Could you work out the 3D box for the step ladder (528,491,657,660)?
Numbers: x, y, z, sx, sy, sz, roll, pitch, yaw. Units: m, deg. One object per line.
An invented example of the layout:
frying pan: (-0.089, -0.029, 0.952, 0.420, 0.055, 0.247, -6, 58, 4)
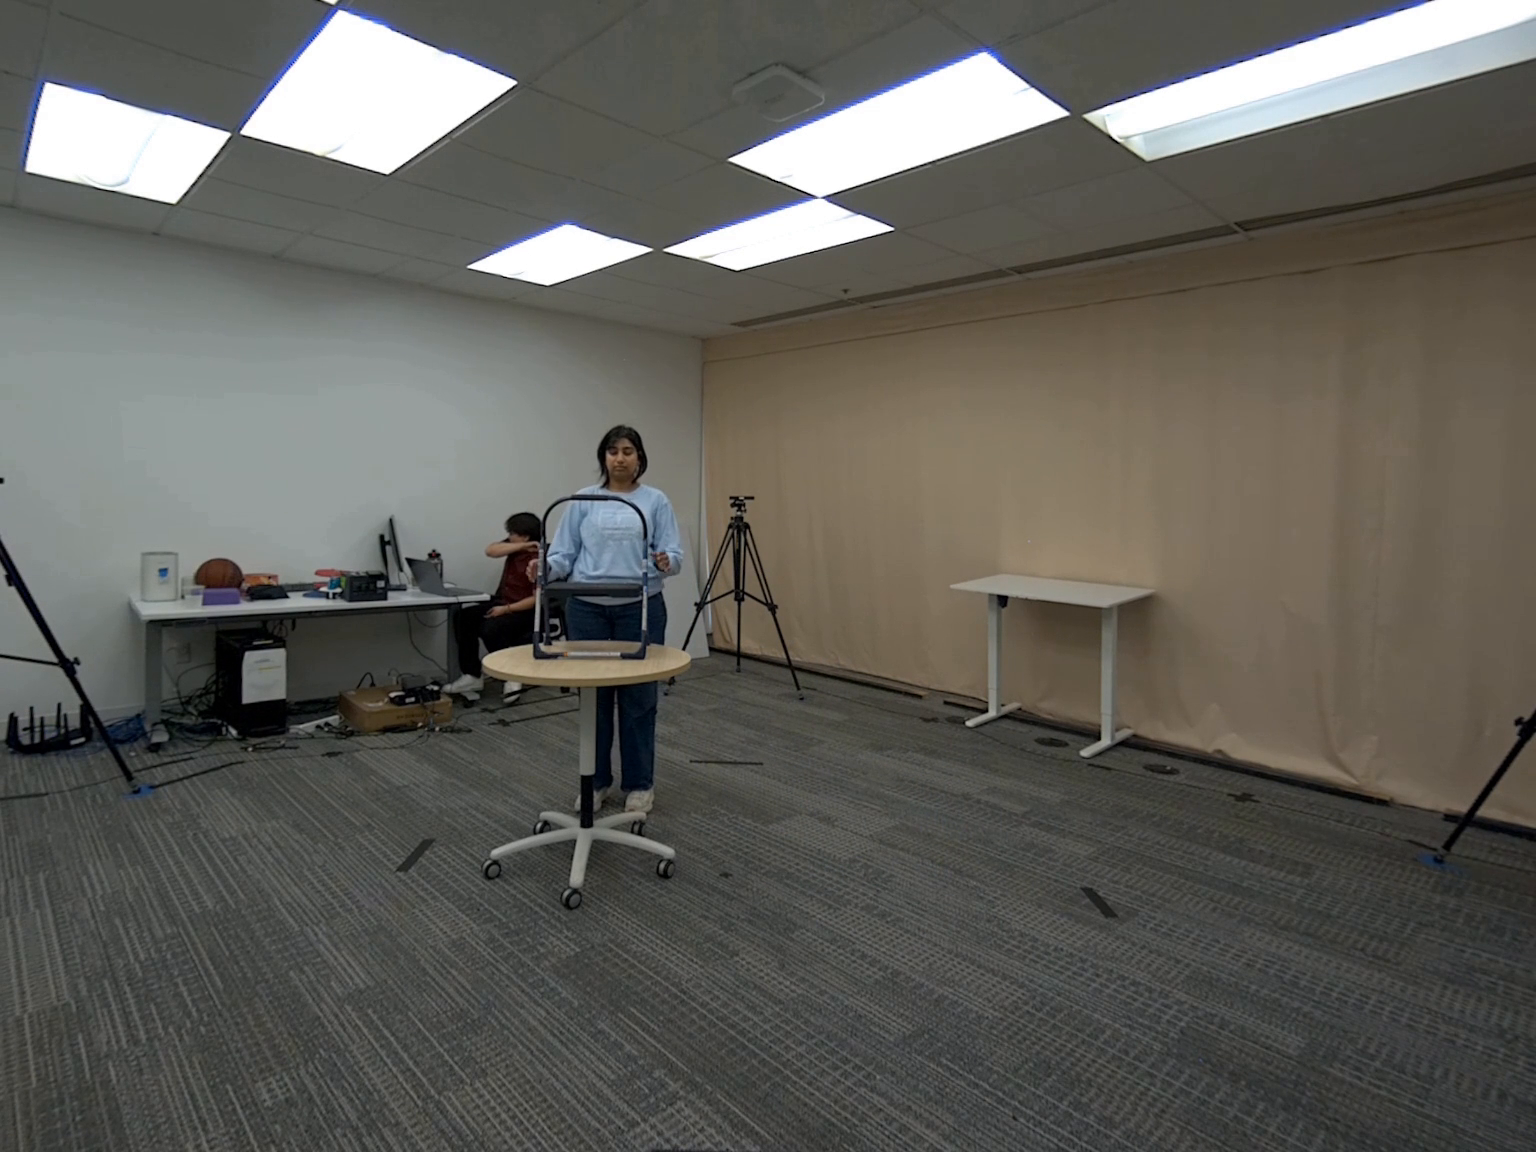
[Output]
step ladder: (-0.685, -0.007, 3.258, 0.429, 0.605, 0.351, 1, 1, -6)
